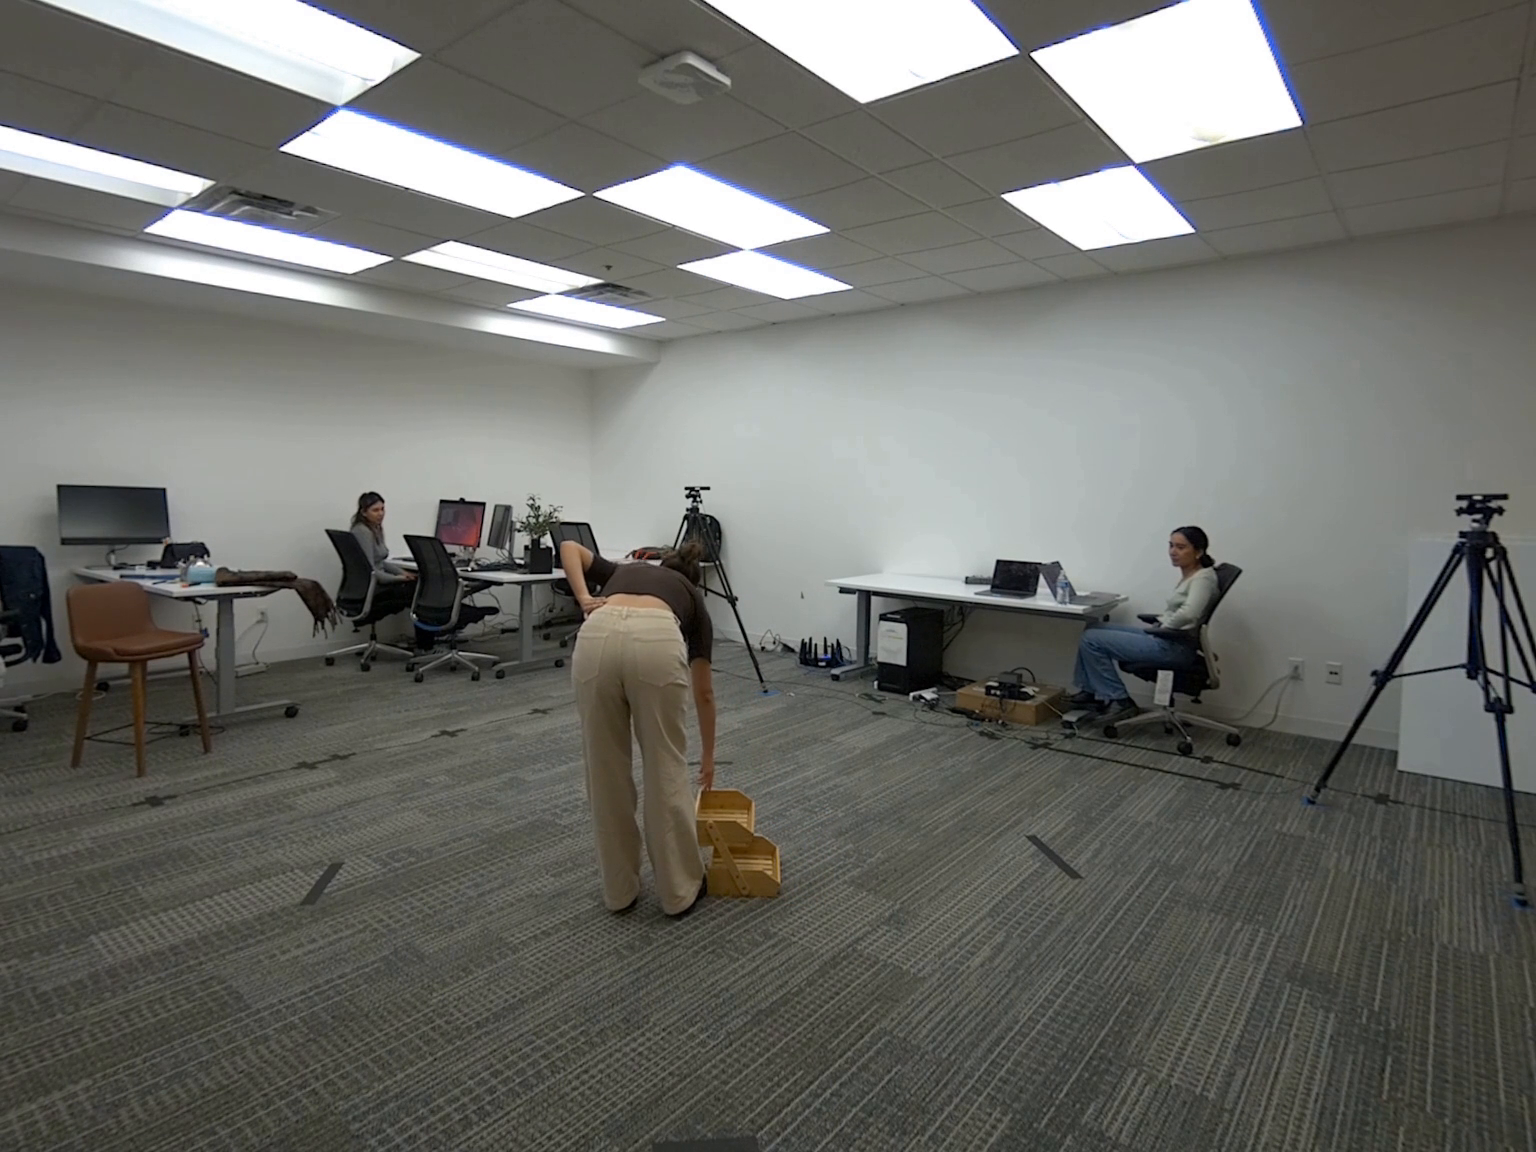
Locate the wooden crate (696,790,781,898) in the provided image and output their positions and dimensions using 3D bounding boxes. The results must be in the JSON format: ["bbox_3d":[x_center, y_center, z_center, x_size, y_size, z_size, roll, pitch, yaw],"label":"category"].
[{"bbox_3d":[-0.108,0.942,3.048,0.302,0.272,0.326,0,5,-1],"label":"wooden crate"}]
